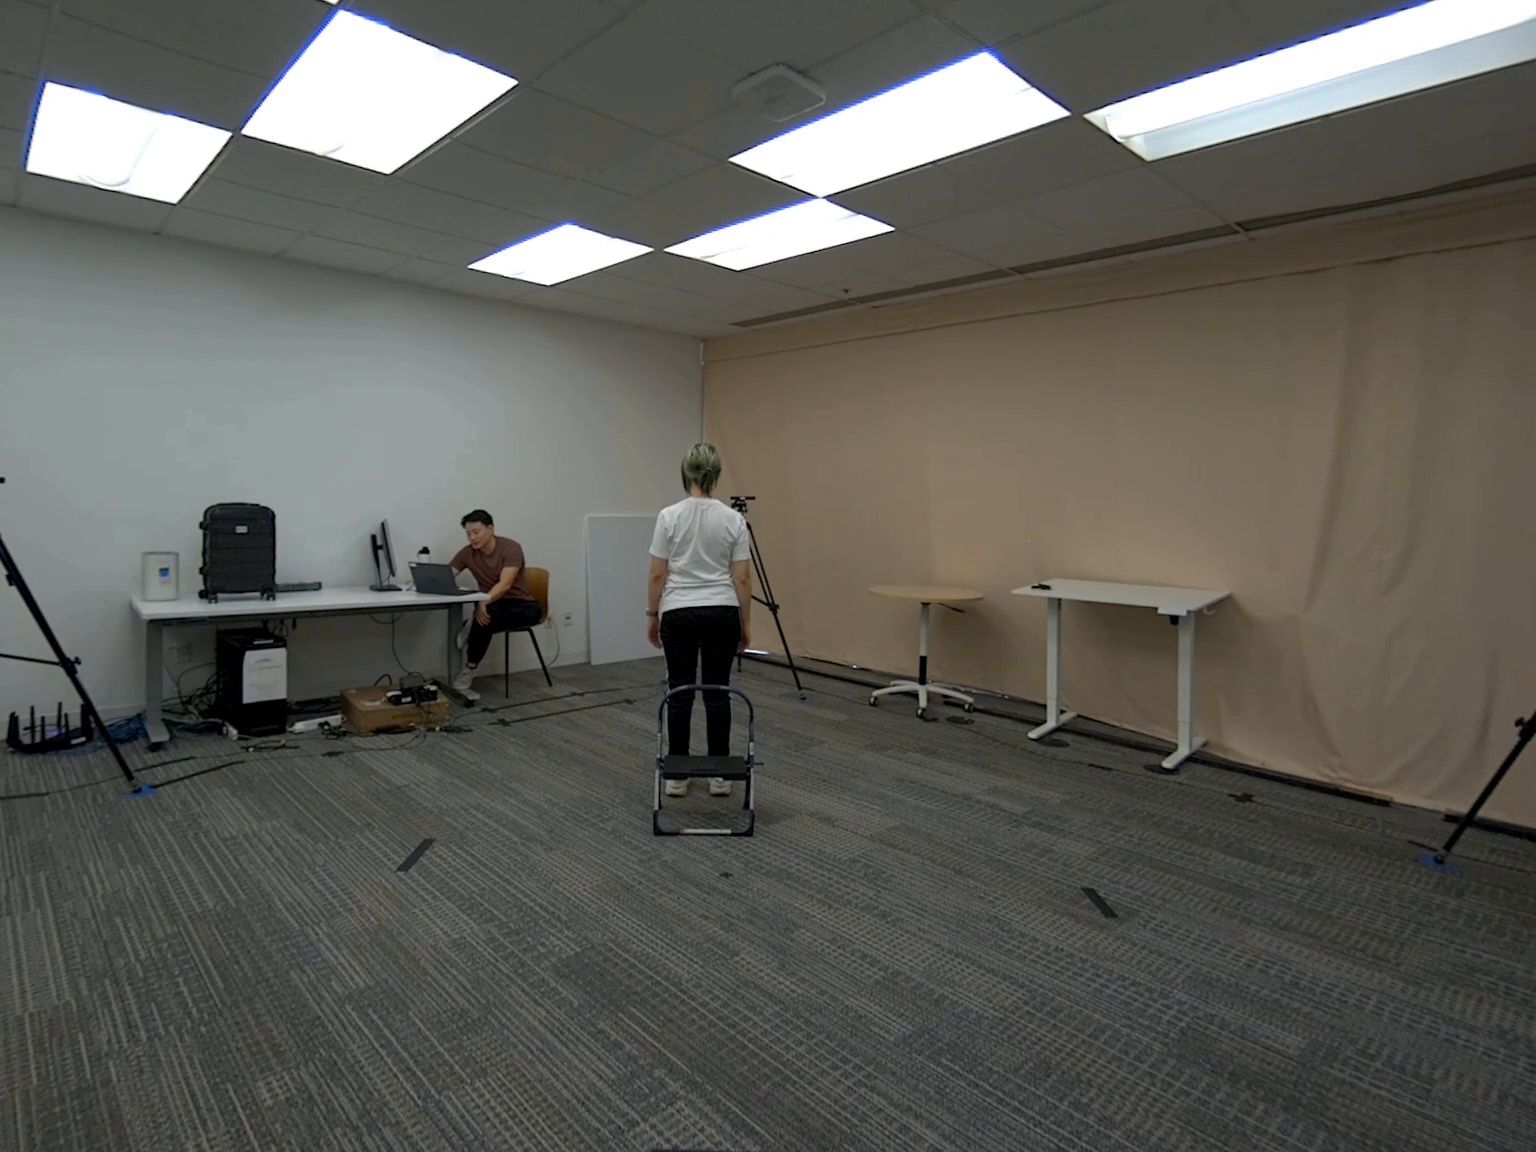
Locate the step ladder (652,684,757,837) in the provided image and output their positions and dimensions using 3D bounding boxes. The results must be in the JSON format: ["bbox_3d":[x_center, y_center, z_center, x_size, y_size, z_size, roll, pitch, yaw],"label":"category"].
[{"bbox_3d":[-0.276,0.762,3.611,0.429,0.605,0.351,1,3,-5],"label":"step ladder"}]
